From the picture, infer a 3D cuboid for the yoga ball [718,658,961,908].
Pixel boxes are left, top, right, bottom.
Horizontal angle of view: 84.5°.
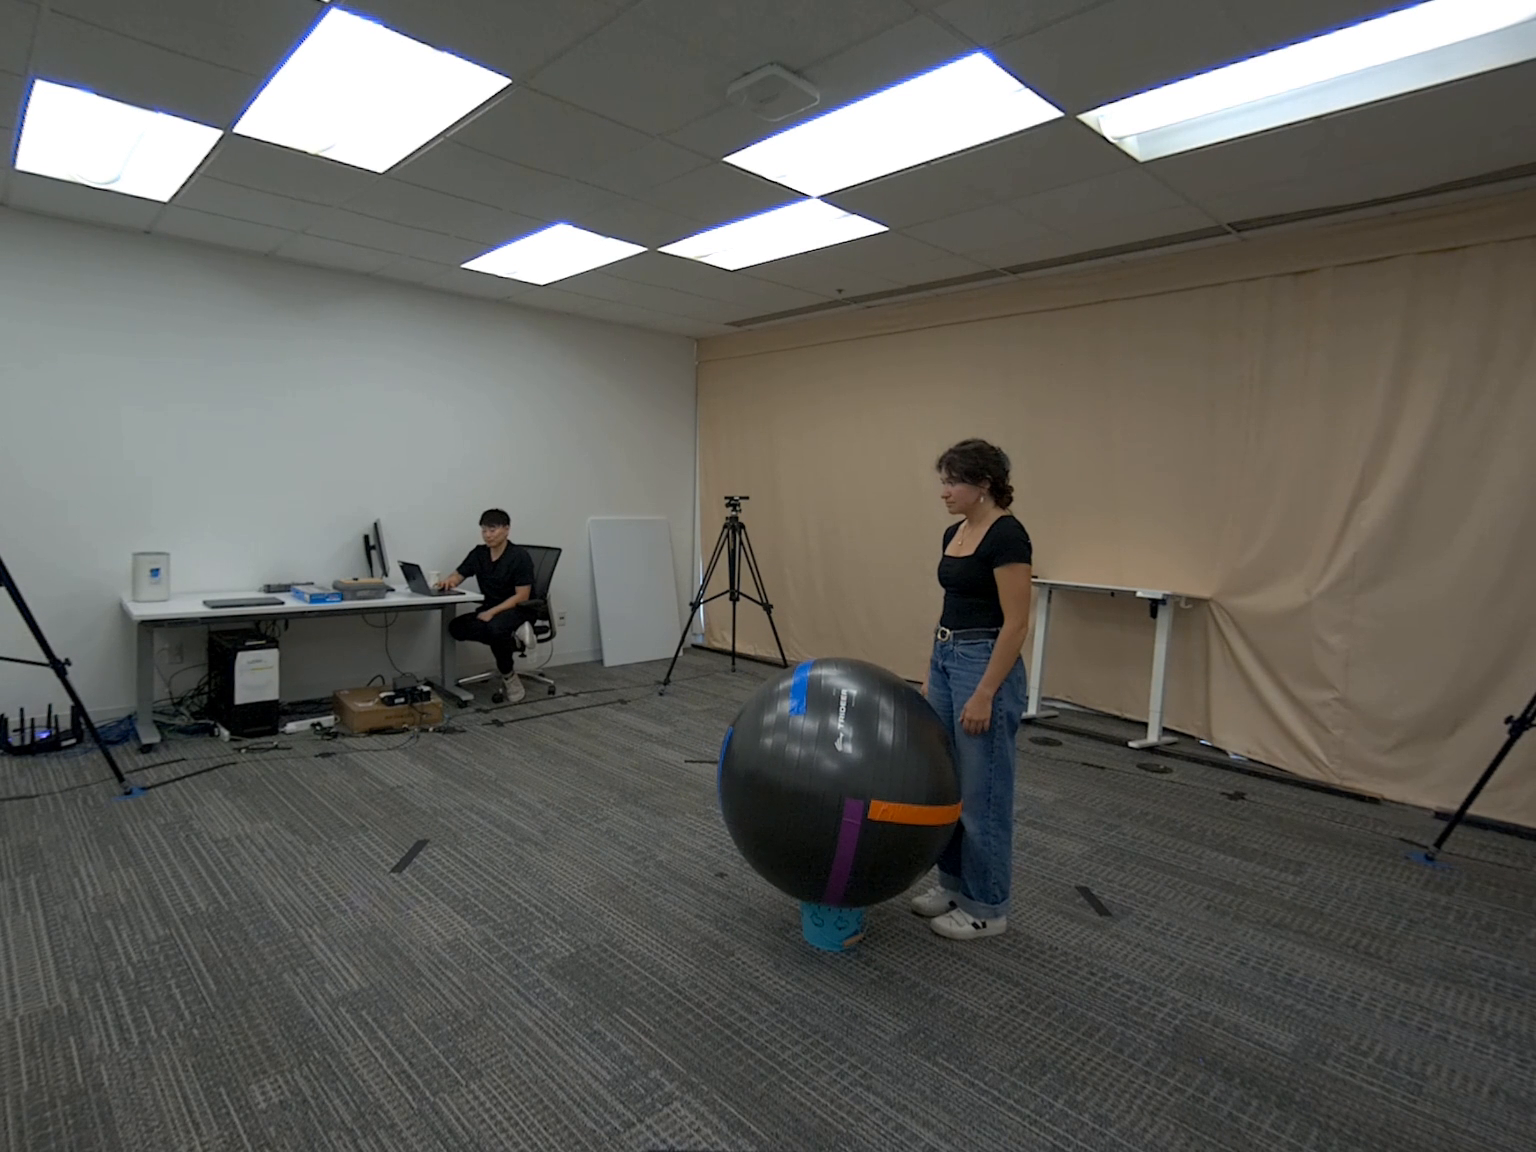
[{"bbox_3d":[0.209,0.646,2.655,0.757,0.756,0.761,1,4,-1],"label":"yoga ball"}]
